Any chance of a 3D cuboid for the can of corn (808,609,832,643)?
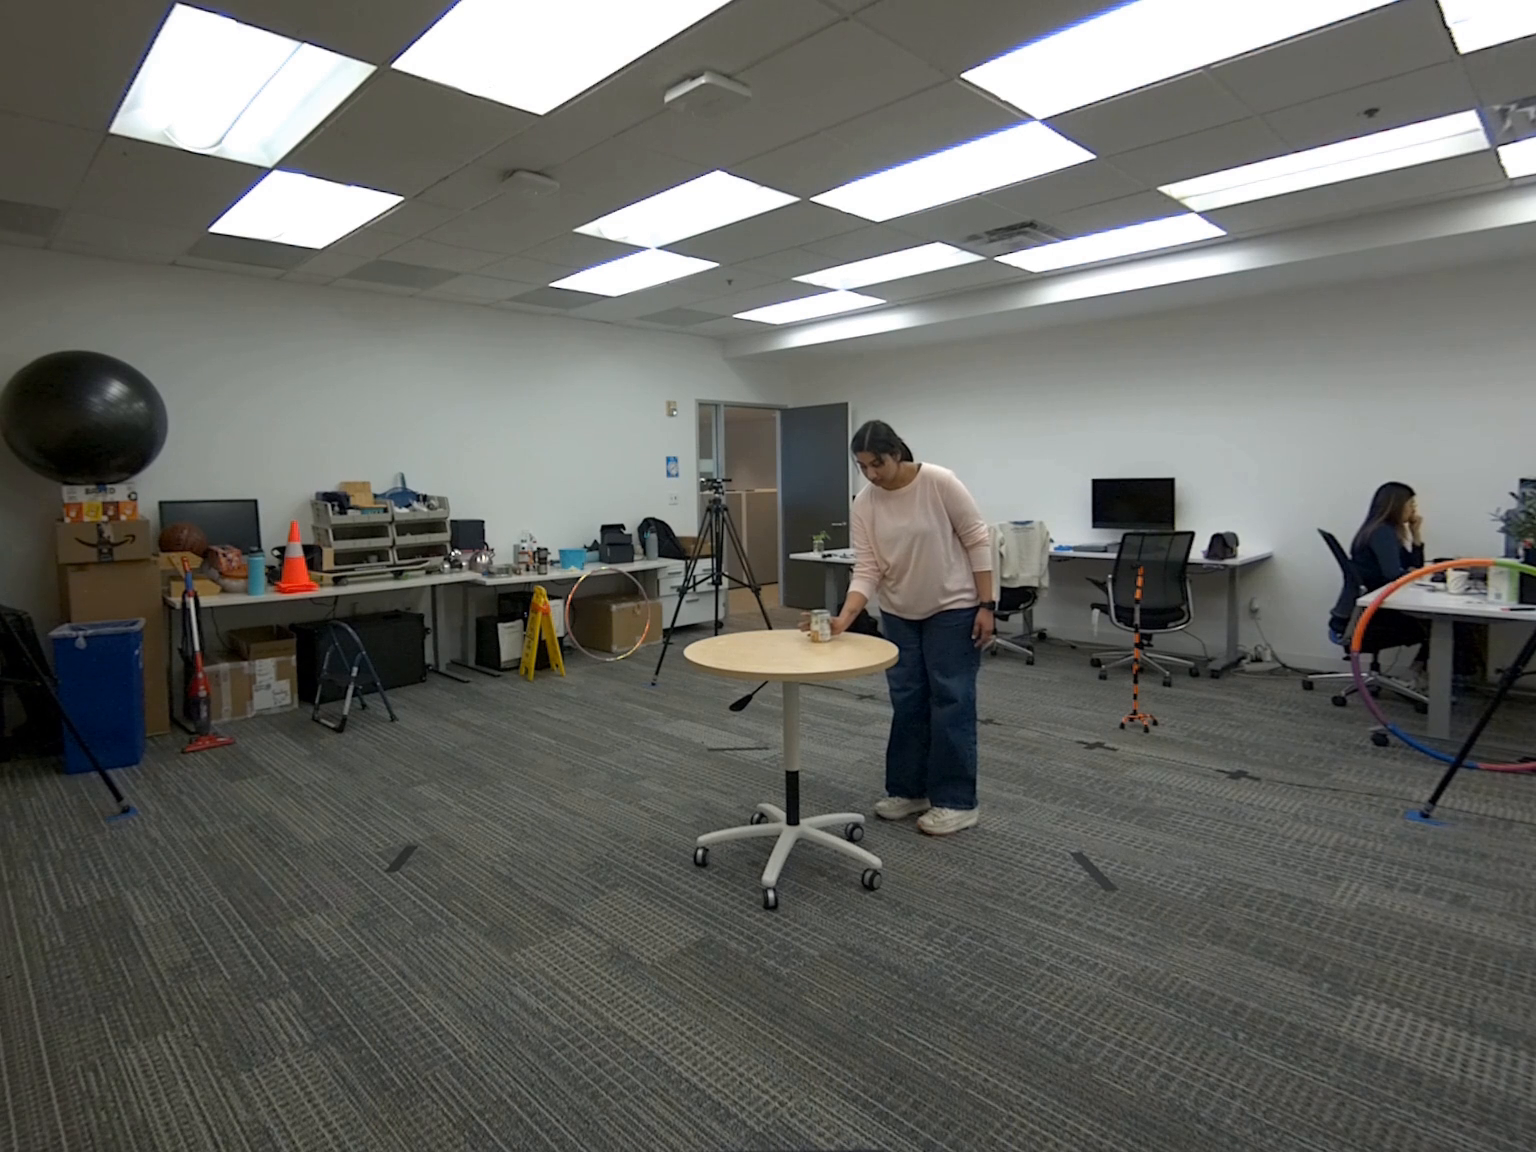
[{"bbox_3d":[0.197,0.189,3.196,0.074,0.111,0.074,-1,3,-2],"label":"can of corn"}]
